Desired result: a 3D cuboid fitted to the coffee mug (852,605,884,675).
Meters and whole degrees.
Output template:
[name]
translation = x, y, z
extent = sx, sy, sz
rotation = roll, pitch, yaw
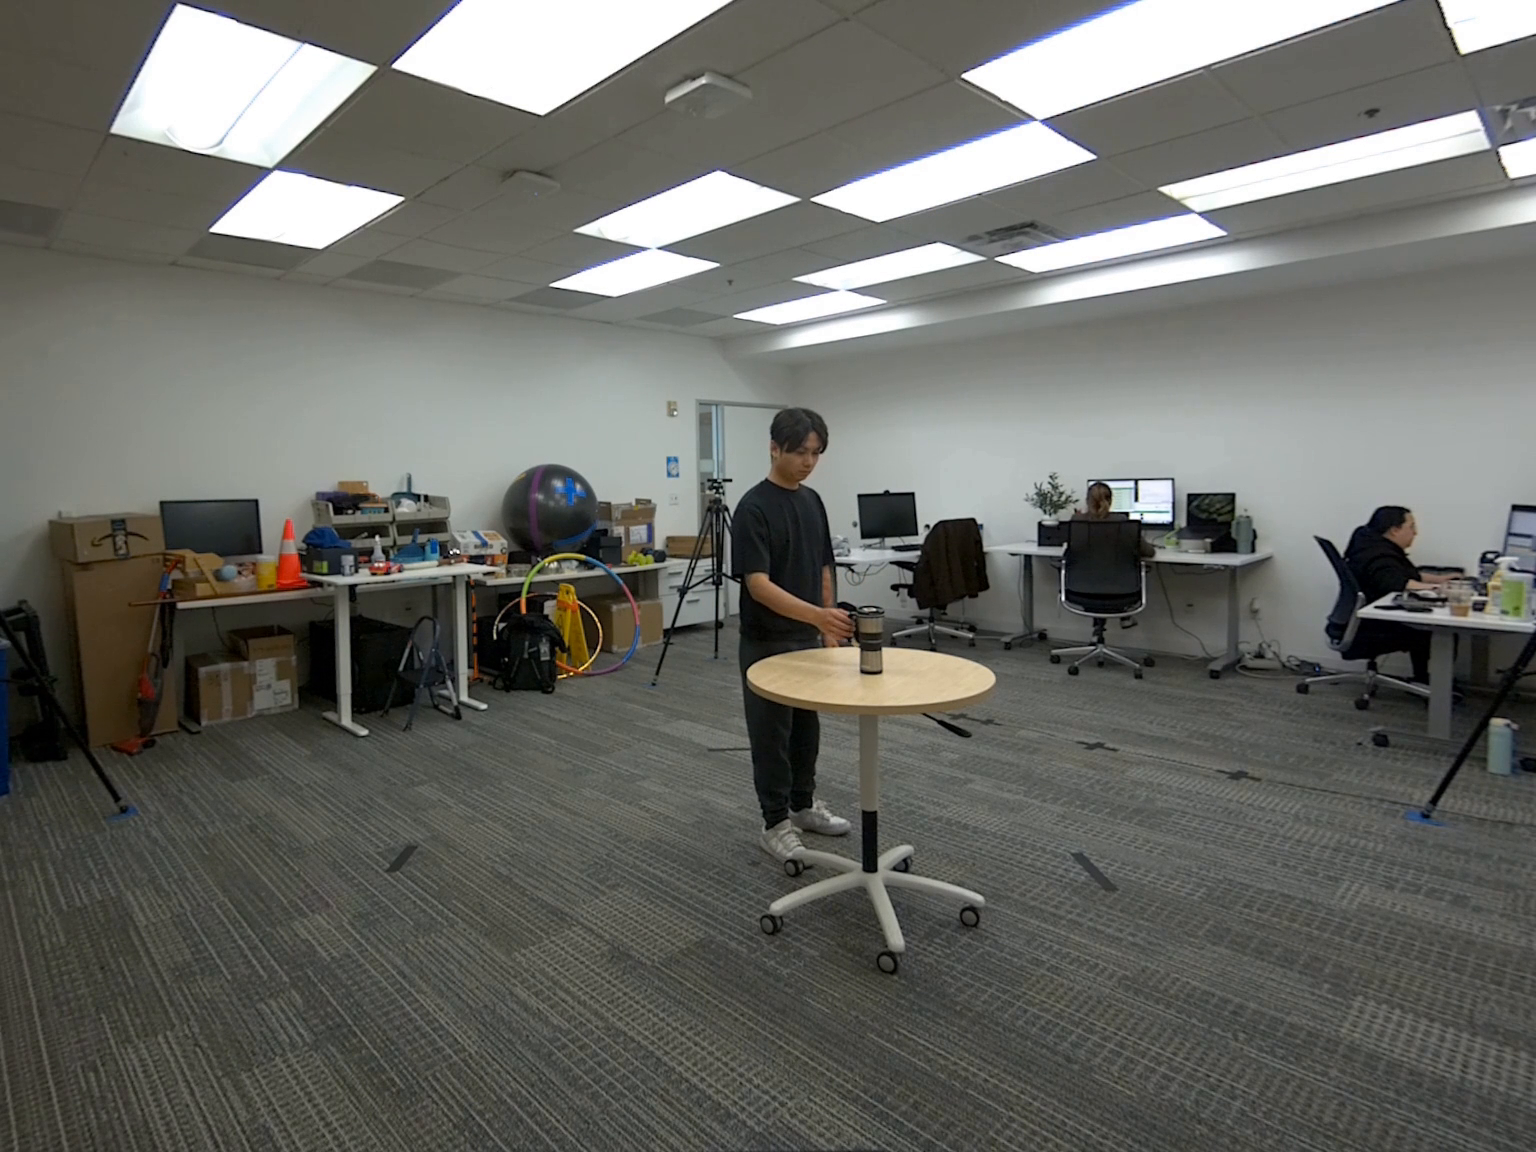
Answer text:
[coffee mug]
translation = 0.319, 0.204, 2.700
extent = 0.086, 0.201, 0.125
rotation = -8, 9, -29
